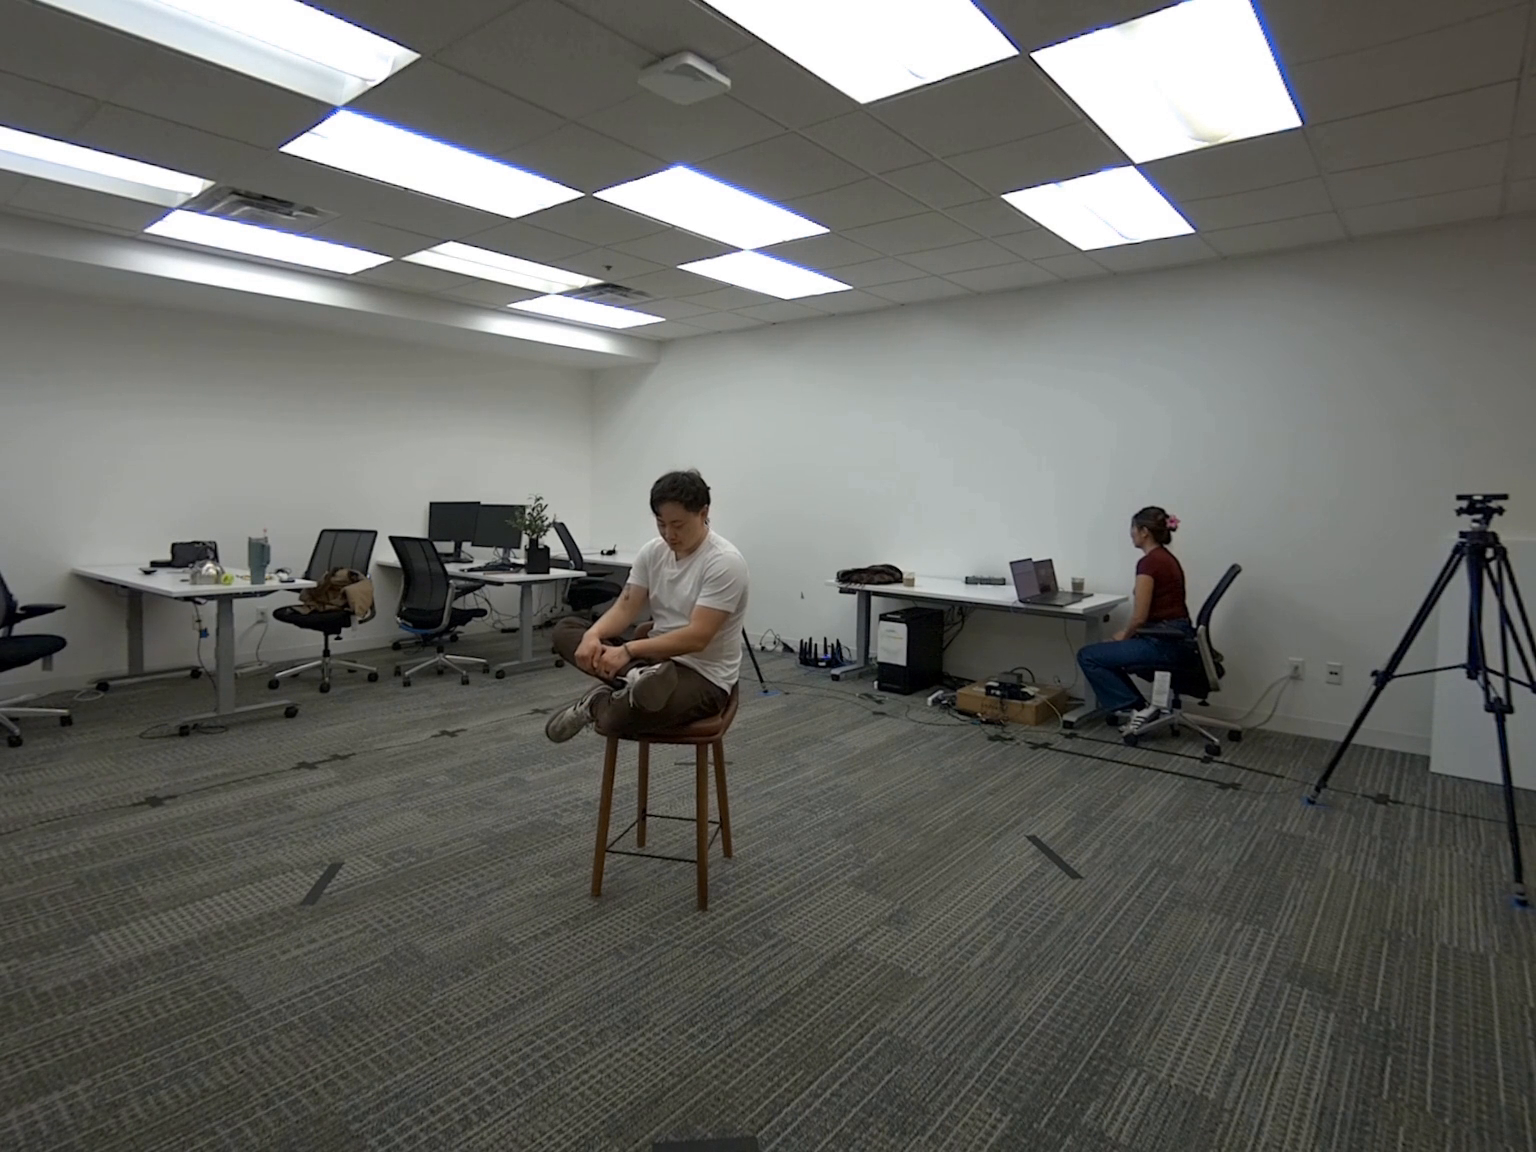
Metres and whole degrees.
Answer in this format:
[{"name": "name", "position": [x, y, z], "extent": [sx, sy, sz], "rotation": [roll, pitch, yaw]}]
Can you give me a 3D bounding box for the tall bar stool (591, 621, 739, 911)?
[{"name": "tall bar stool", "position": [-0.361, 0.640, 3.043], "extent": [0.464, 0.889, 0.460], "rotation": [1, 1, 14]}]
